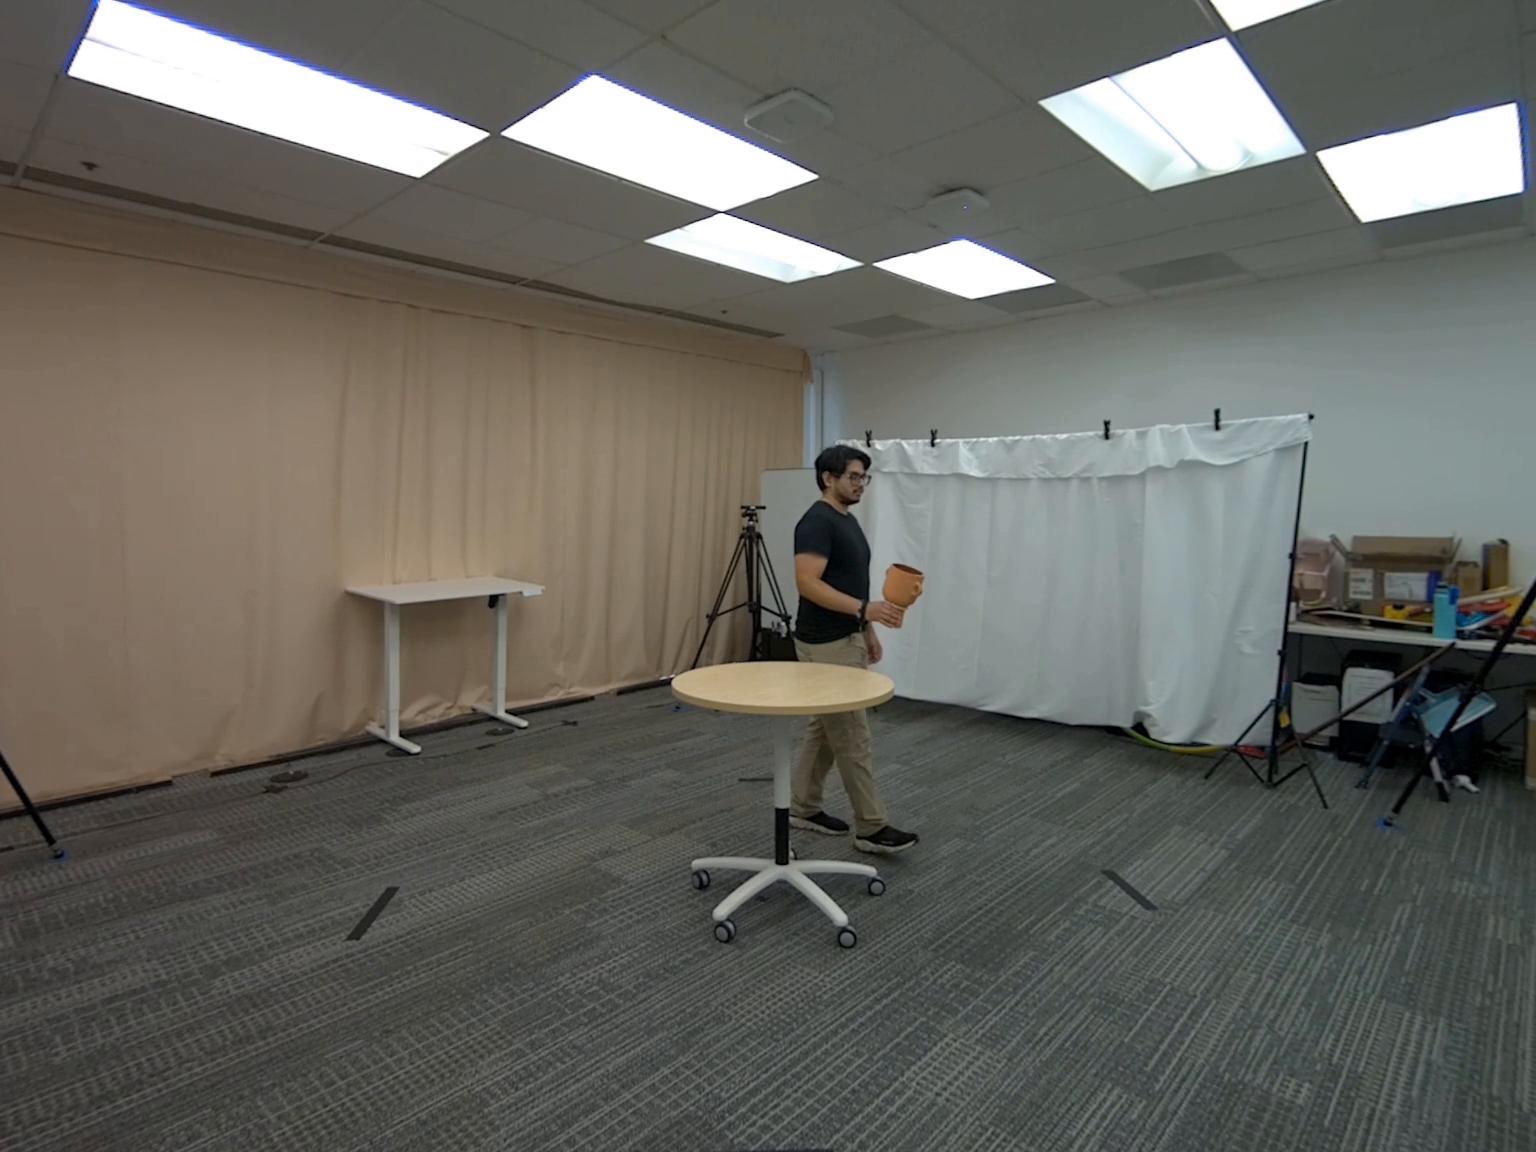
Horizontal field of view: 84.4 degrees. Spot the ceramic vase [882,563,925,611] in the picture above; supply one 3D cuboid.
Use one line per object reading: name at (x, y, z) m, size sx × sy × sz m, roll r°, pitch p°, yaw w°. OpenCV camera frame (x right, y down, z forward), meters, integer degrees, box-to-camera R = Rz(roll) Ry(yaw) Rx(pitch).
ceramic vase at (0.490, 0.076, 3.156) m, size 0.135 × 0.219 × 0.158 m, roll 19°, pitch 15°, yaw 3°
